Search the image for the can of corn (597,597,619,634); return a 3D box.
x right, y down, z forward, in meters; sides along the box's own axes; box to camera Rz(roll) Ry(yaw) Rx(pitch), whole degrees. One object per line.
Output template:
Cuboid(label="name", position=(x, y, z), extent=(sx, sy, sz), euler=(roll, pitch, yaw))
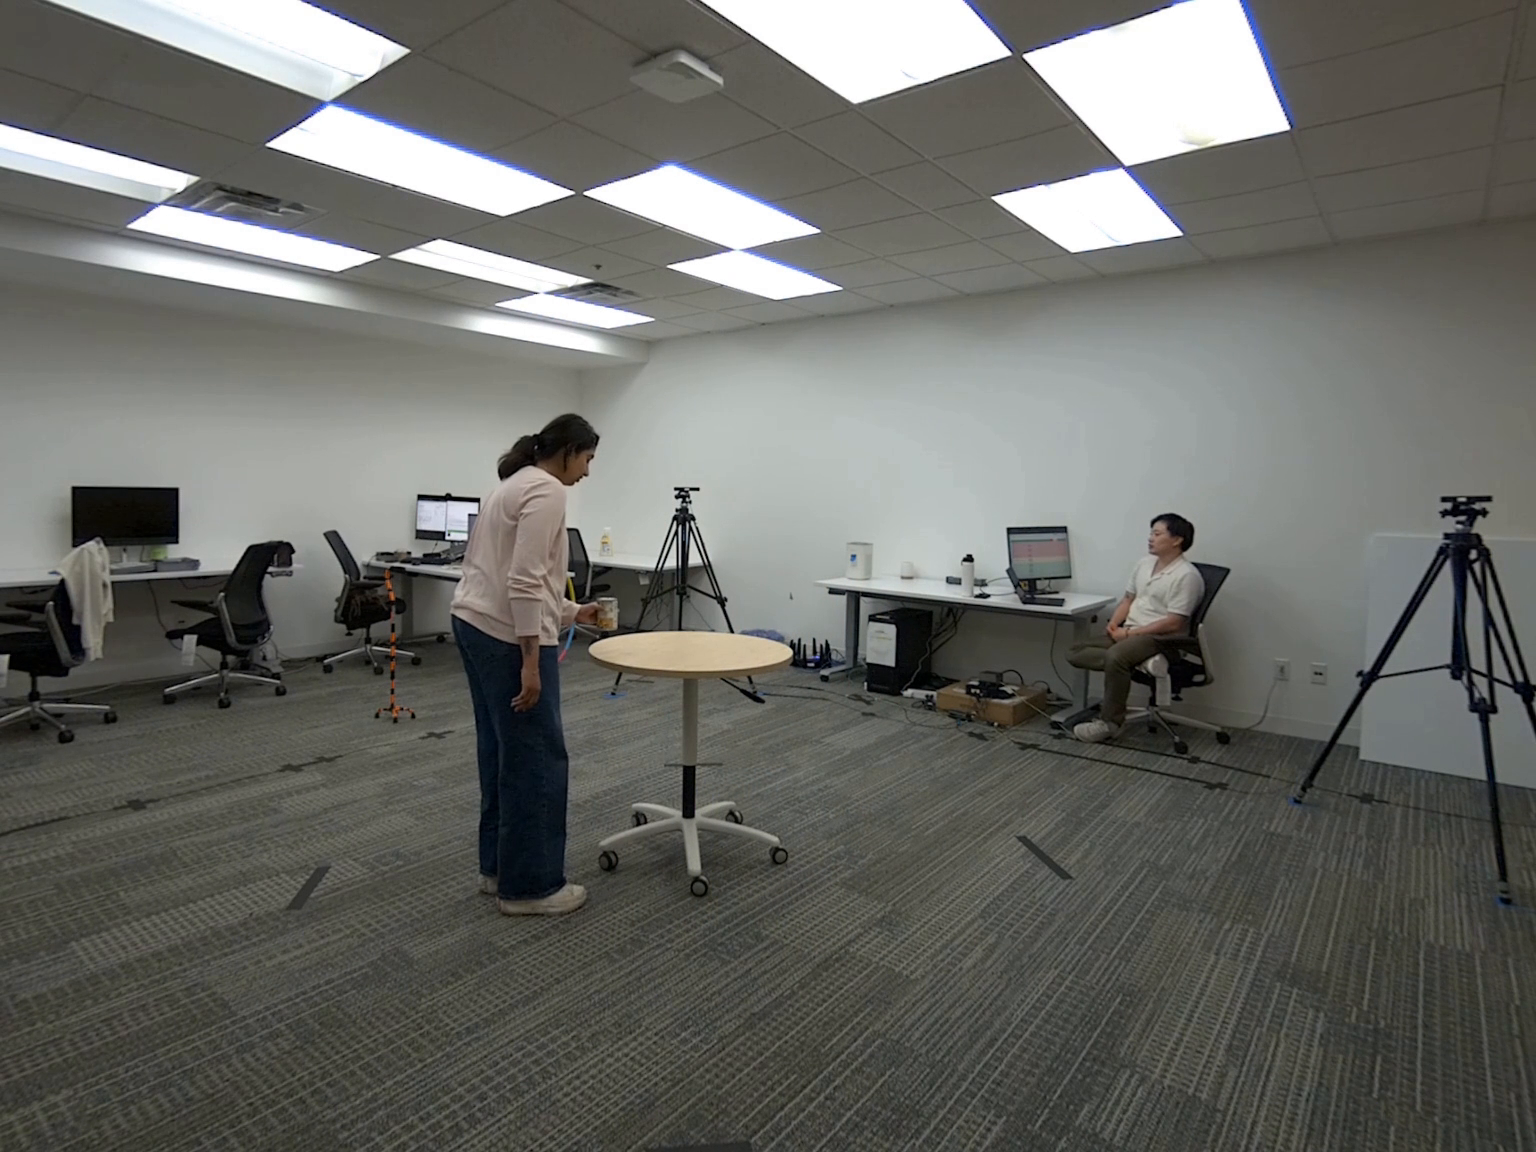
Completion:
Cuboid(label="can of corn", position=(-0.611, 0.142, 3.139), extent=(0.074, 0.111, 0.074), euler=(-2, 2, -2))
